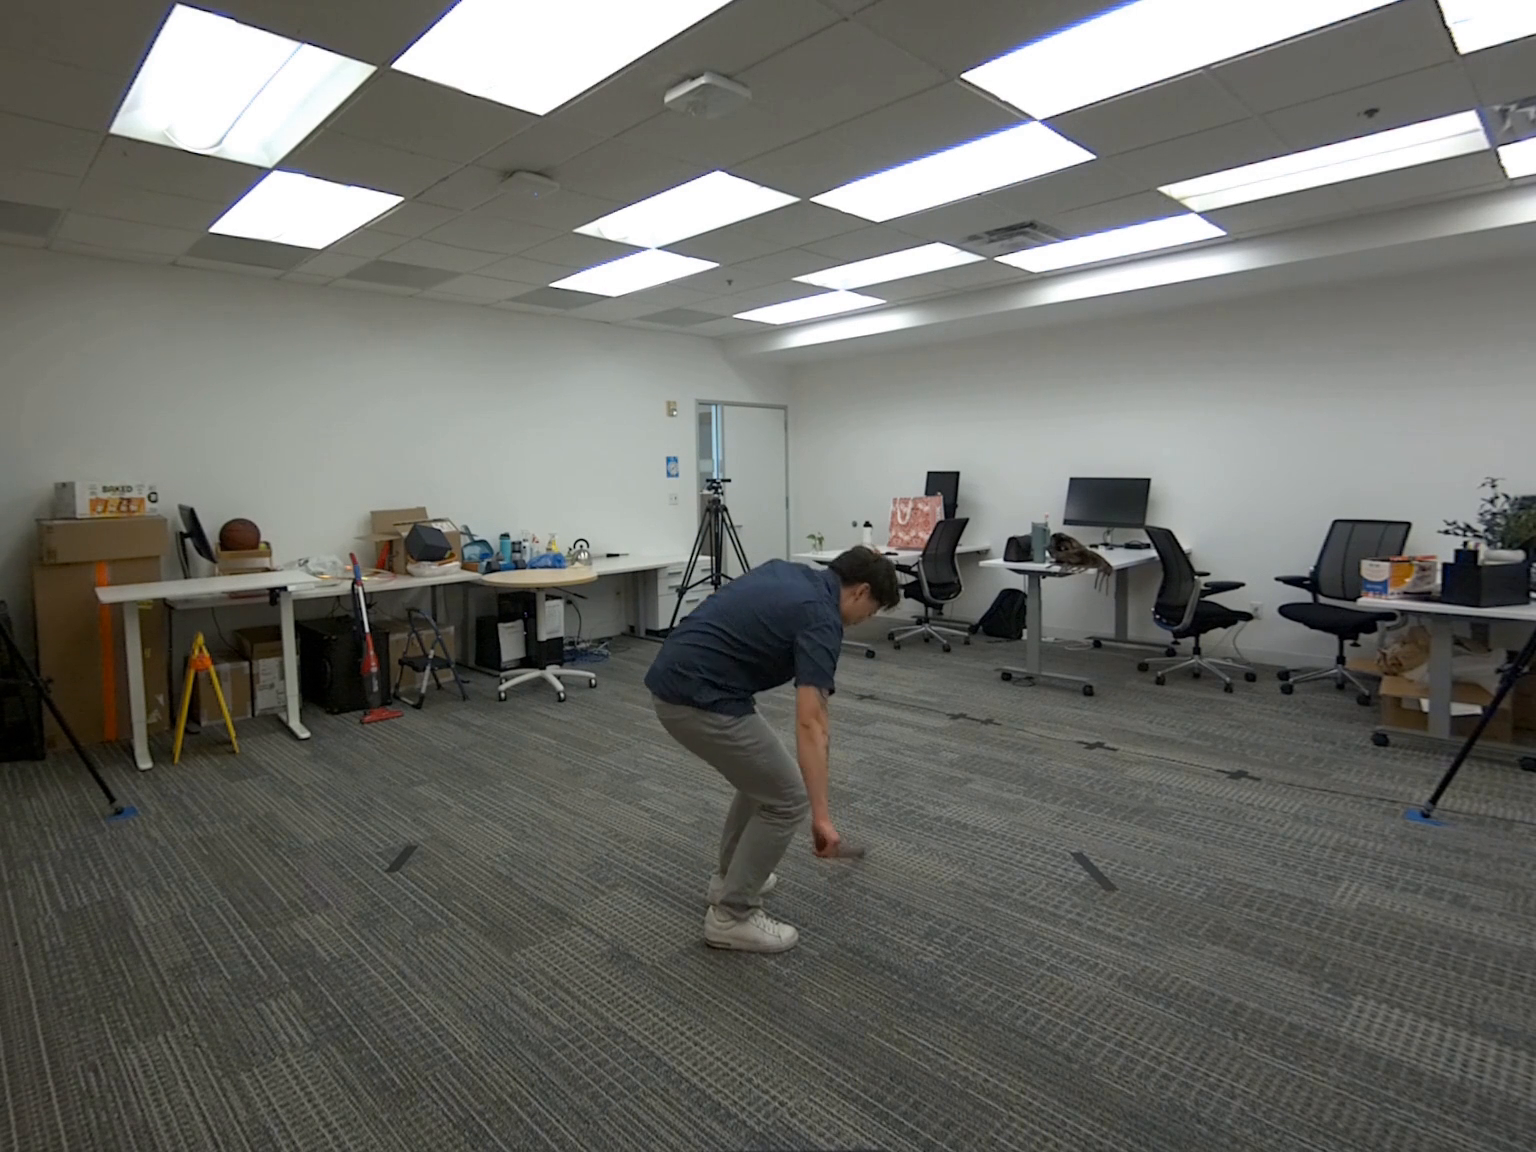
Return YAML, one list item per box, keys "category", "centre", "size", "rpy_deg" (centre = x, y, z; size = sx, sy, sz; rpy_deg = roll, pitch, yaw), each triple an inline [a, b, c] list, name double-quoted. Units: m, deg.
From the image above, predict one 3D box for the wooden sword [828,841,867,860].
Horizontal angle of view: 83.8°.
- category: "wooden sword"
  centre: [0.246, 0.885, 2.733]
  size: [0.052, 0.024, 0.996]
  rpy_deg: [27, -9, 19]
